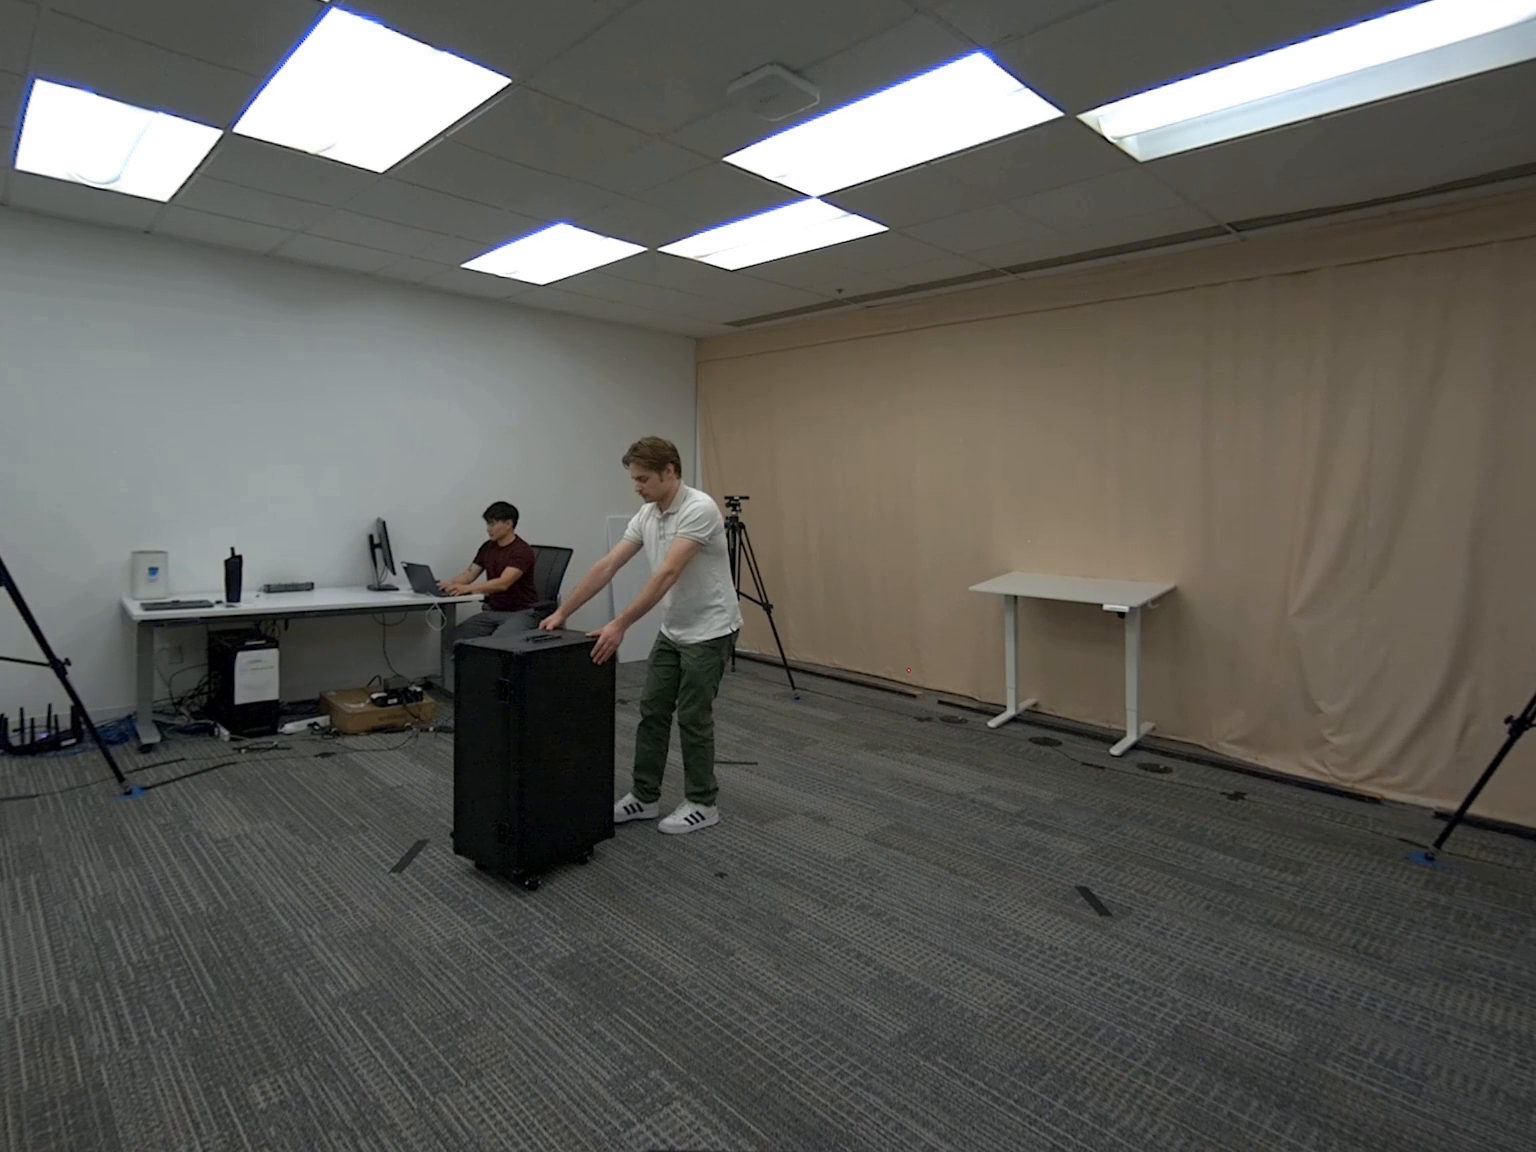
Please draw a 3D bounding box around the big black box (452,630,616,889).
[{"bbox_3d":[-0.881,0.660,3.144,0.394,0.867,0.512,3,3,33],"label":"big black box"}]
